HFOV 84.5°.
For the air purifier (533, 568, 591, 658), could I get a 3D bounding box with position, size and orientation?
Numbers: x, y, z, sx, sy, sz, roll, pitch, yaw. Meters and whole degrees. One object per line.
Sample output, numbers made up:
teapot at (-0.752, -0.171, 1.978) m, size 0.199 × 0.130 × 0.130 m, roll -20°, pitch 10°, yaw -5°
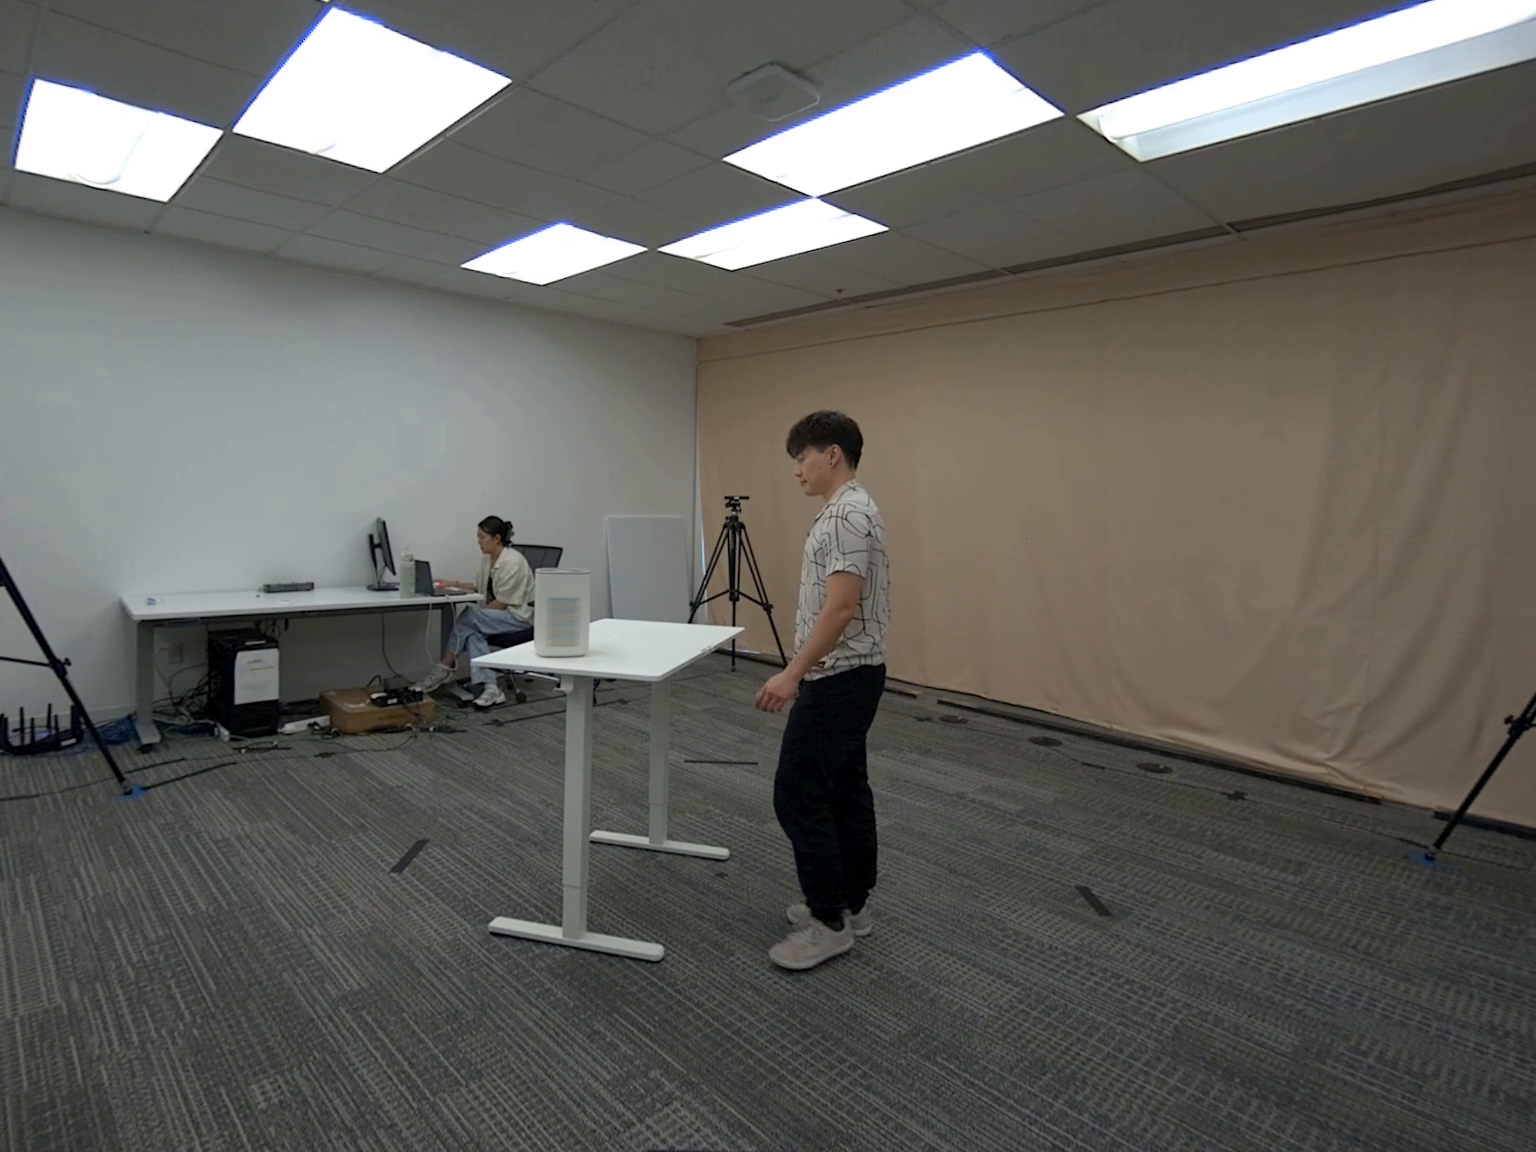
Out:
air purifier at (-0.654, 0.119, 2.667) m, size 0.170 × 0.265 × 0.173 m, roll 1°, pitch 2°, yaw -14°
